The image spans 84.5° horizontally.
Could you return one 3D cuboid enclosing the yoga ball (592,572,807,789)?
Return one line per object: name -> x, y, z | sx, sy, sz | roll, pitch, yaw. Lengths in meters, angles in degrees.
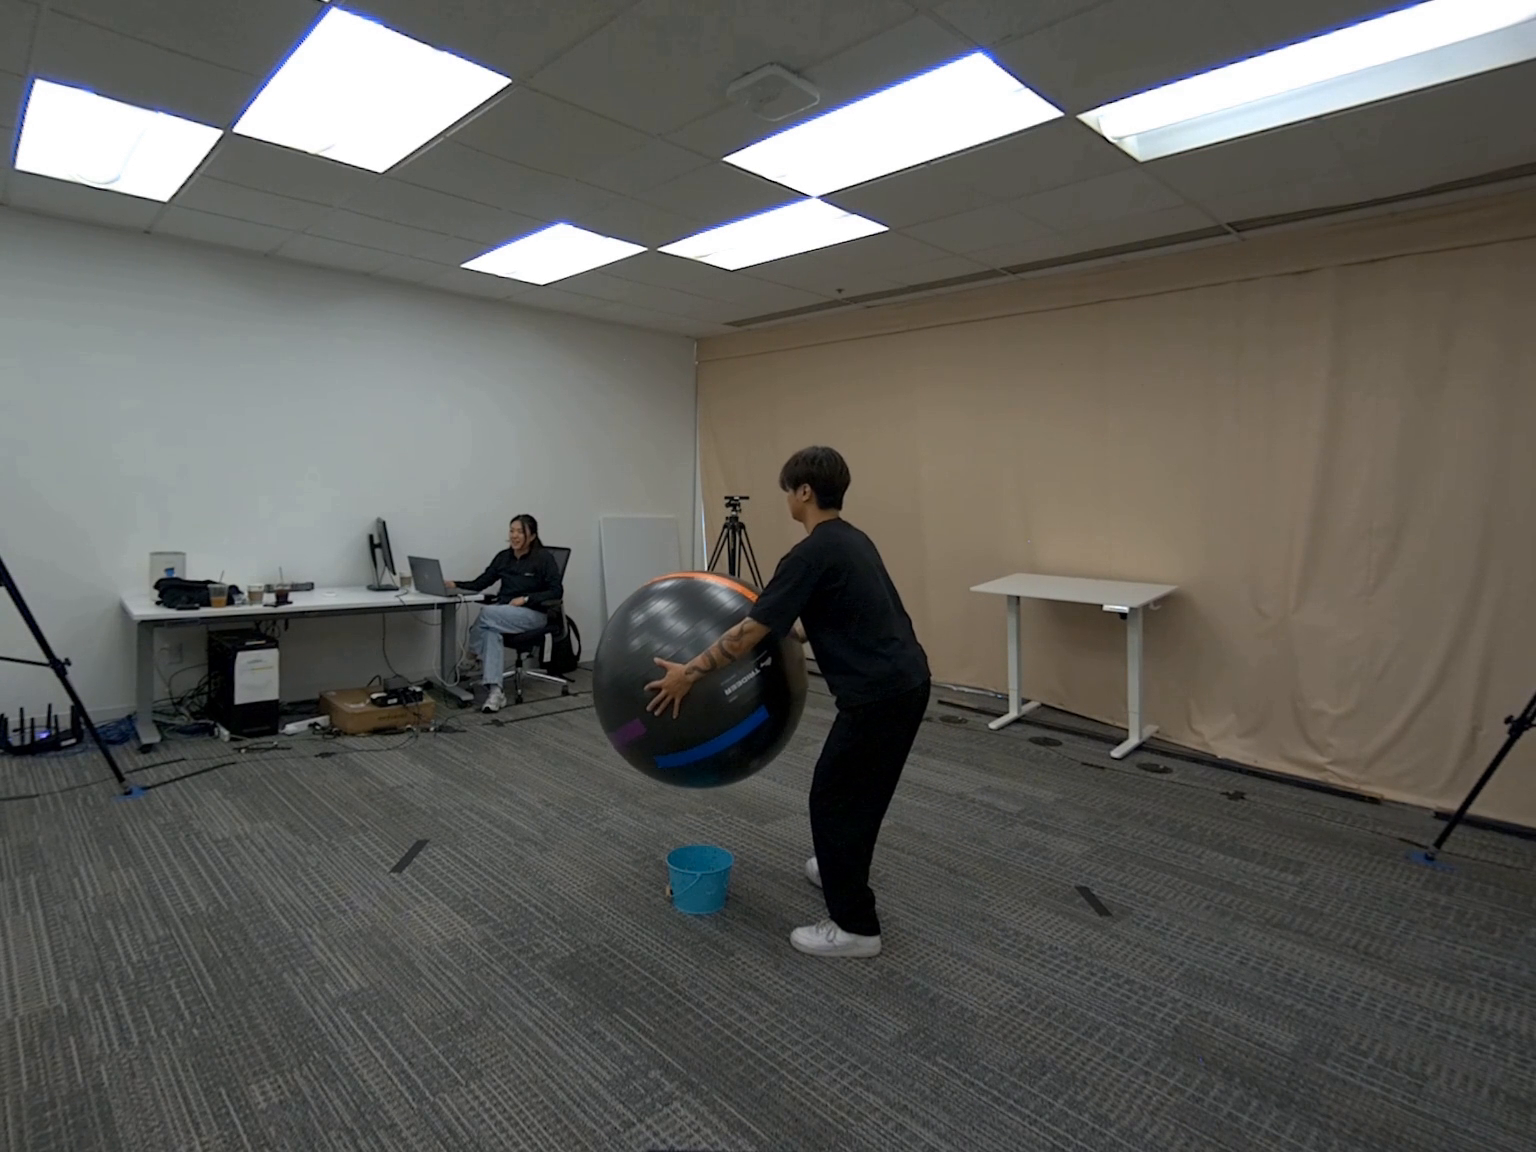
yoga ball -> -0.252, 0.370, 2.992 | 0.757, 0.756, 0.761 | 1, 4, -1
